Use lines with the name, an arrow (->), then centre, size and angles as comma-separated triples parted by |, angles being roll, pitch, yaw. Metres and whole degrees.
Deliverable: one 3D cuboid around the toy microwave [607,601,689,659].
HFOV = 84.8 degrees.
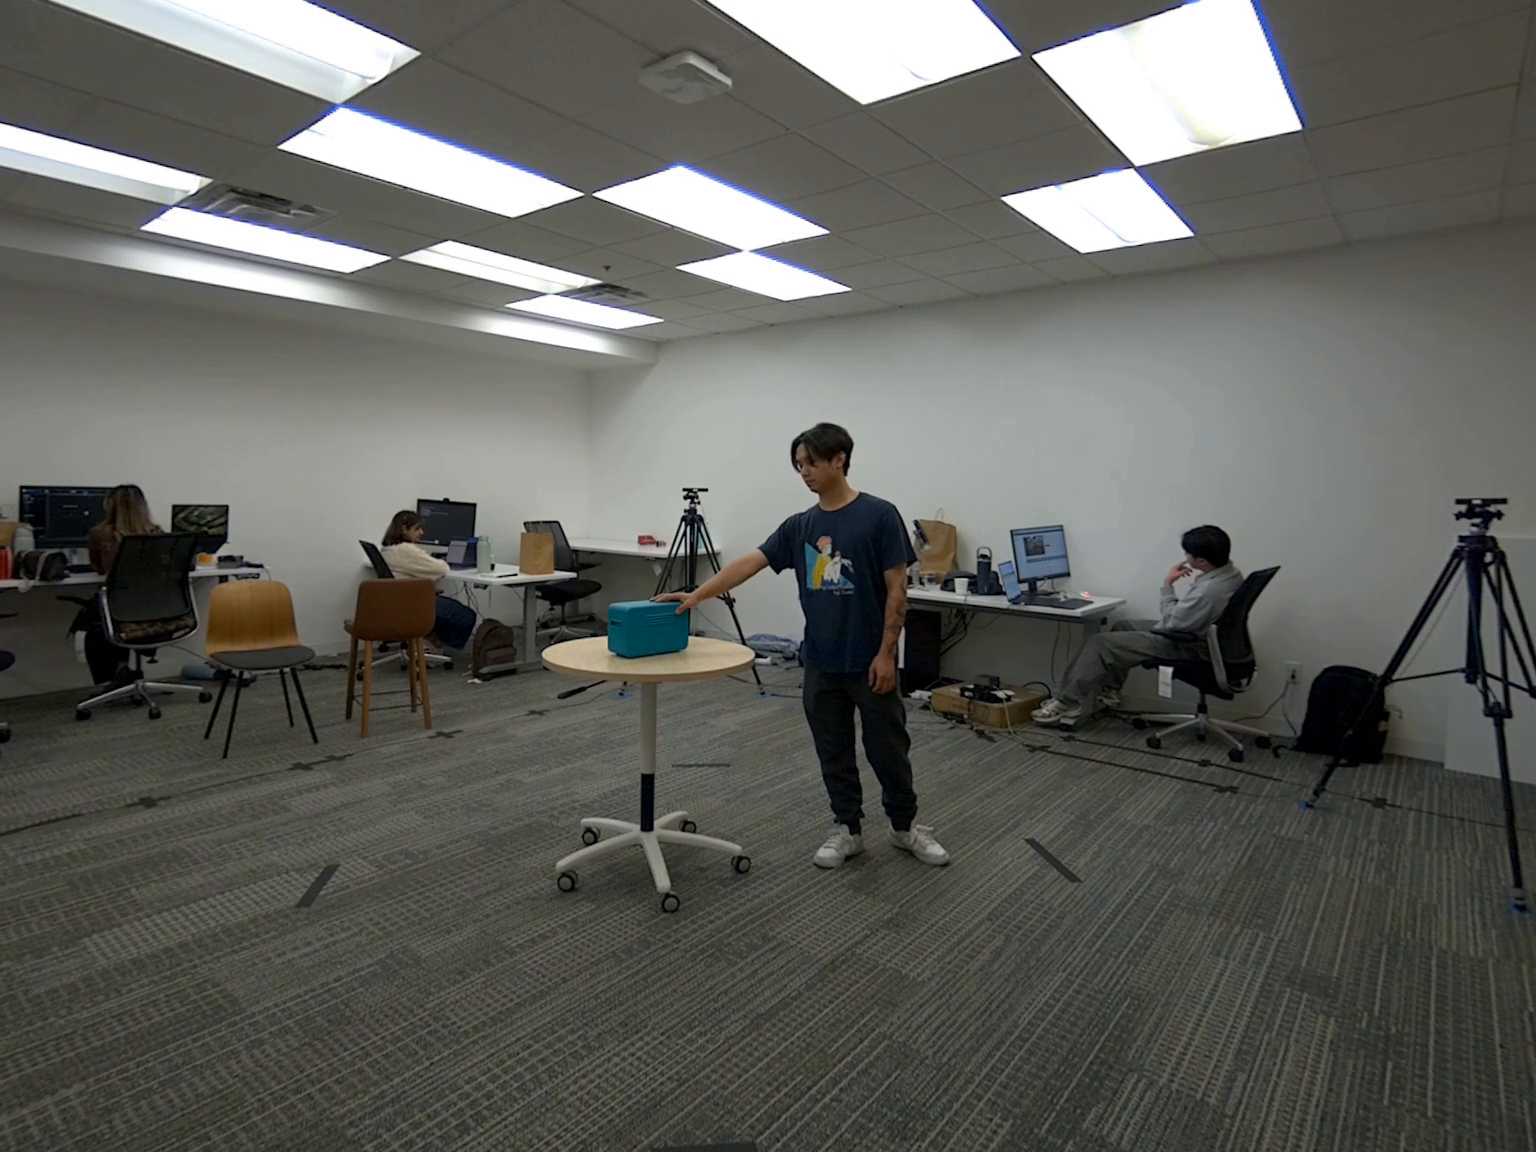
toy microwave -> -0.450, 0.183, 3.072 | 0.277, 0.184, 0.157 | -2, 5, -42
